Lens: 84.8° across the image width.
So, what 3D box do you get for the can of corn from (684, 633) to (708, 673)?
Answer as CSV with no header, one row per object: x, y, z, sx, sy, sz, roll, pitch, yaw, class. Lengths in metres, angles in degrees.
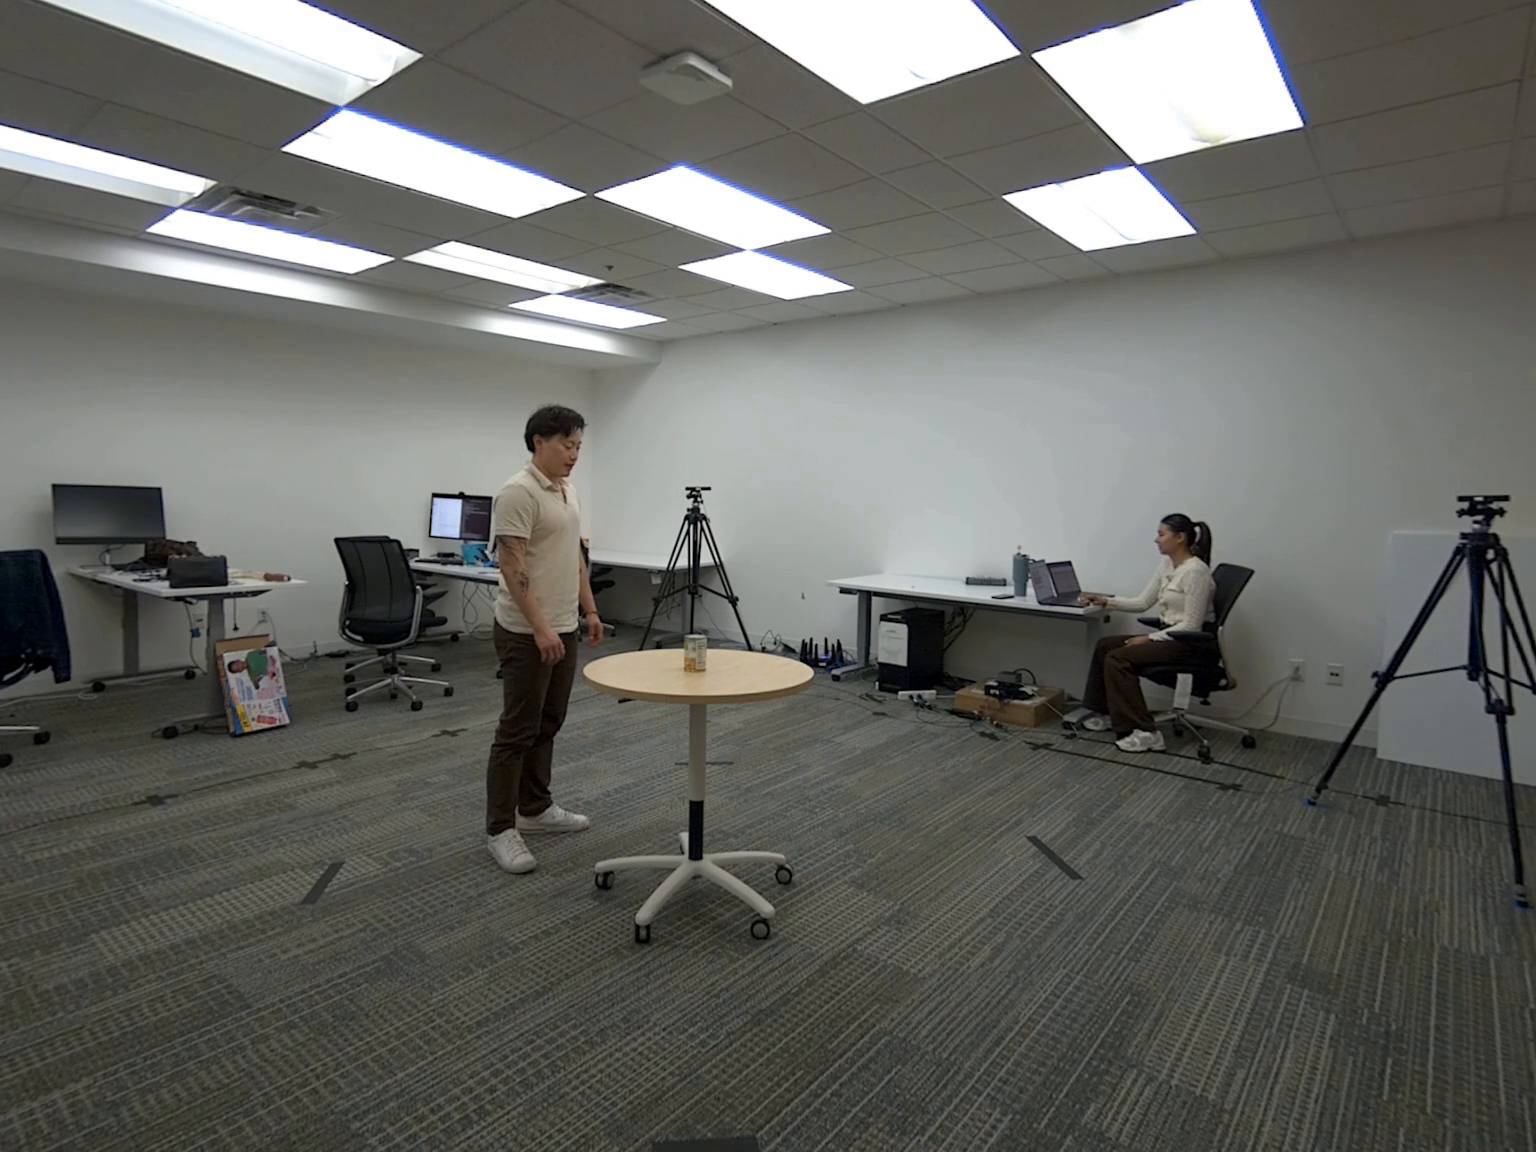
-0.249,0.252,2.822,0.074,0.111,0.074,1,2,-2,can of corn
